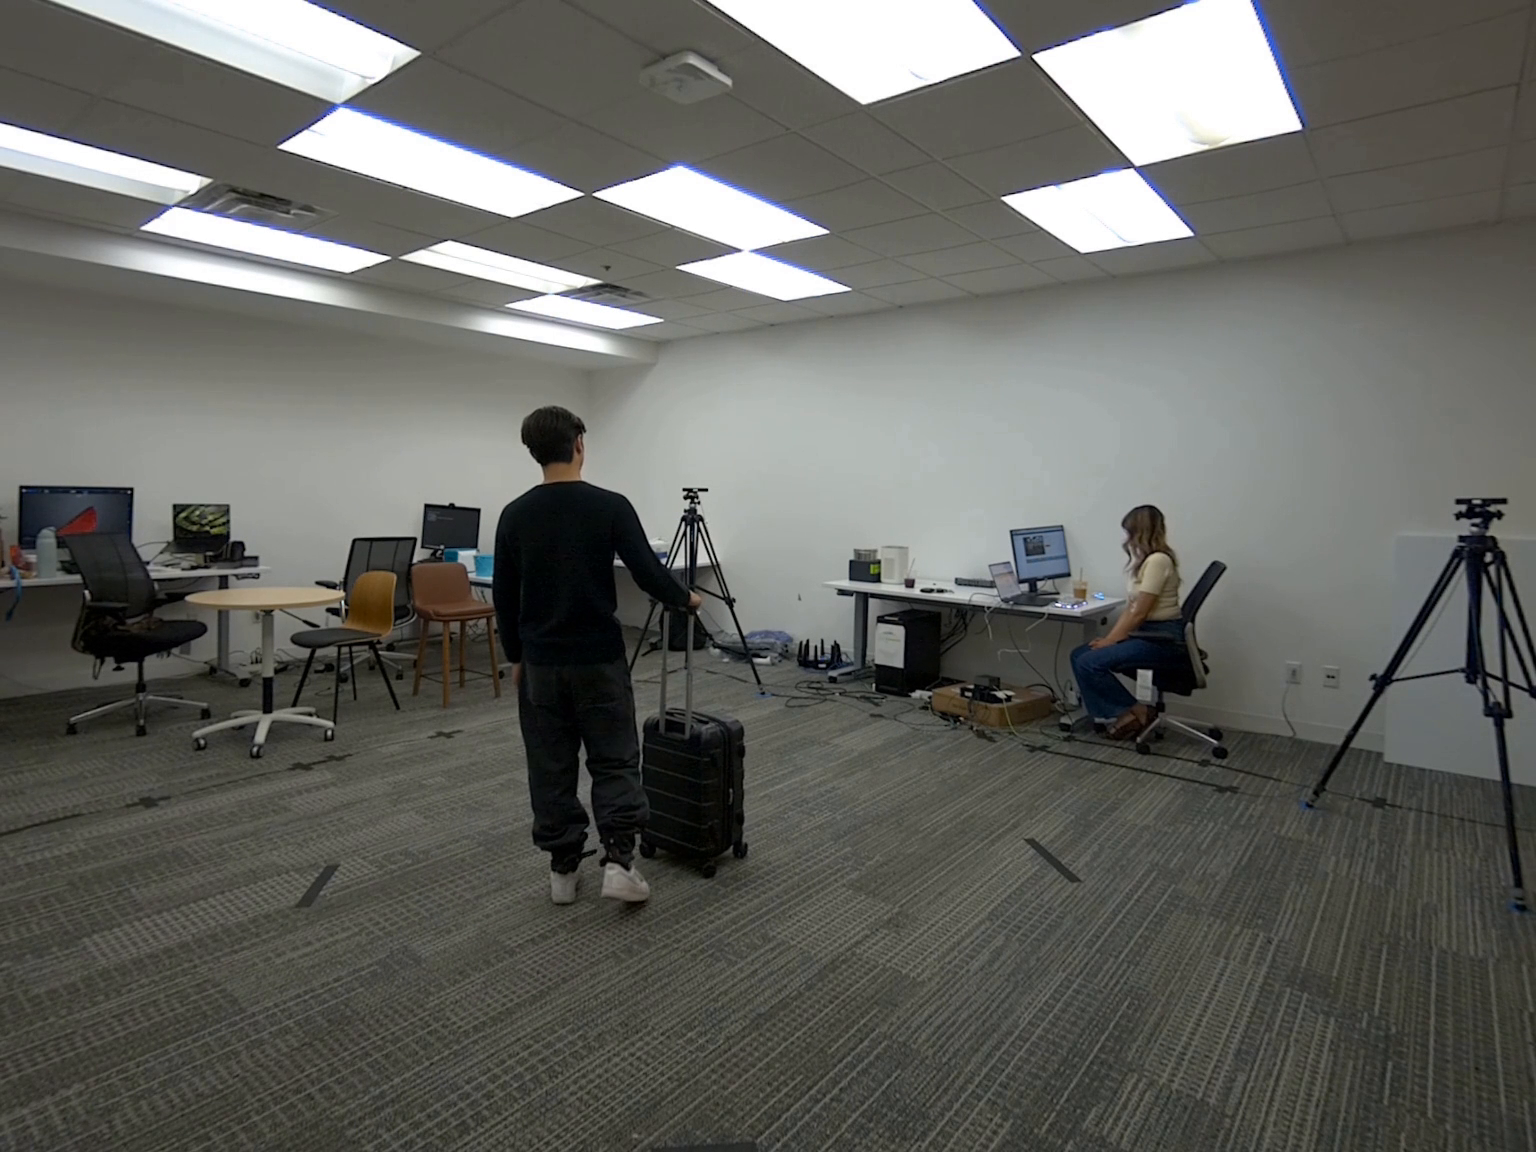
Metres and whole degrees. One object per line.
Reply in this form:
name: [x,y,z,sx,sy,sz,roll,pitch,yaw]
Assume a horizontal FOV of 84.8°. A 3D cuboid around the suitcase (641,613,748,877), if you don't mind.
suitcase: [-0.289,0.582,3.214,0.396,0.978,0.249,3,1,36]
